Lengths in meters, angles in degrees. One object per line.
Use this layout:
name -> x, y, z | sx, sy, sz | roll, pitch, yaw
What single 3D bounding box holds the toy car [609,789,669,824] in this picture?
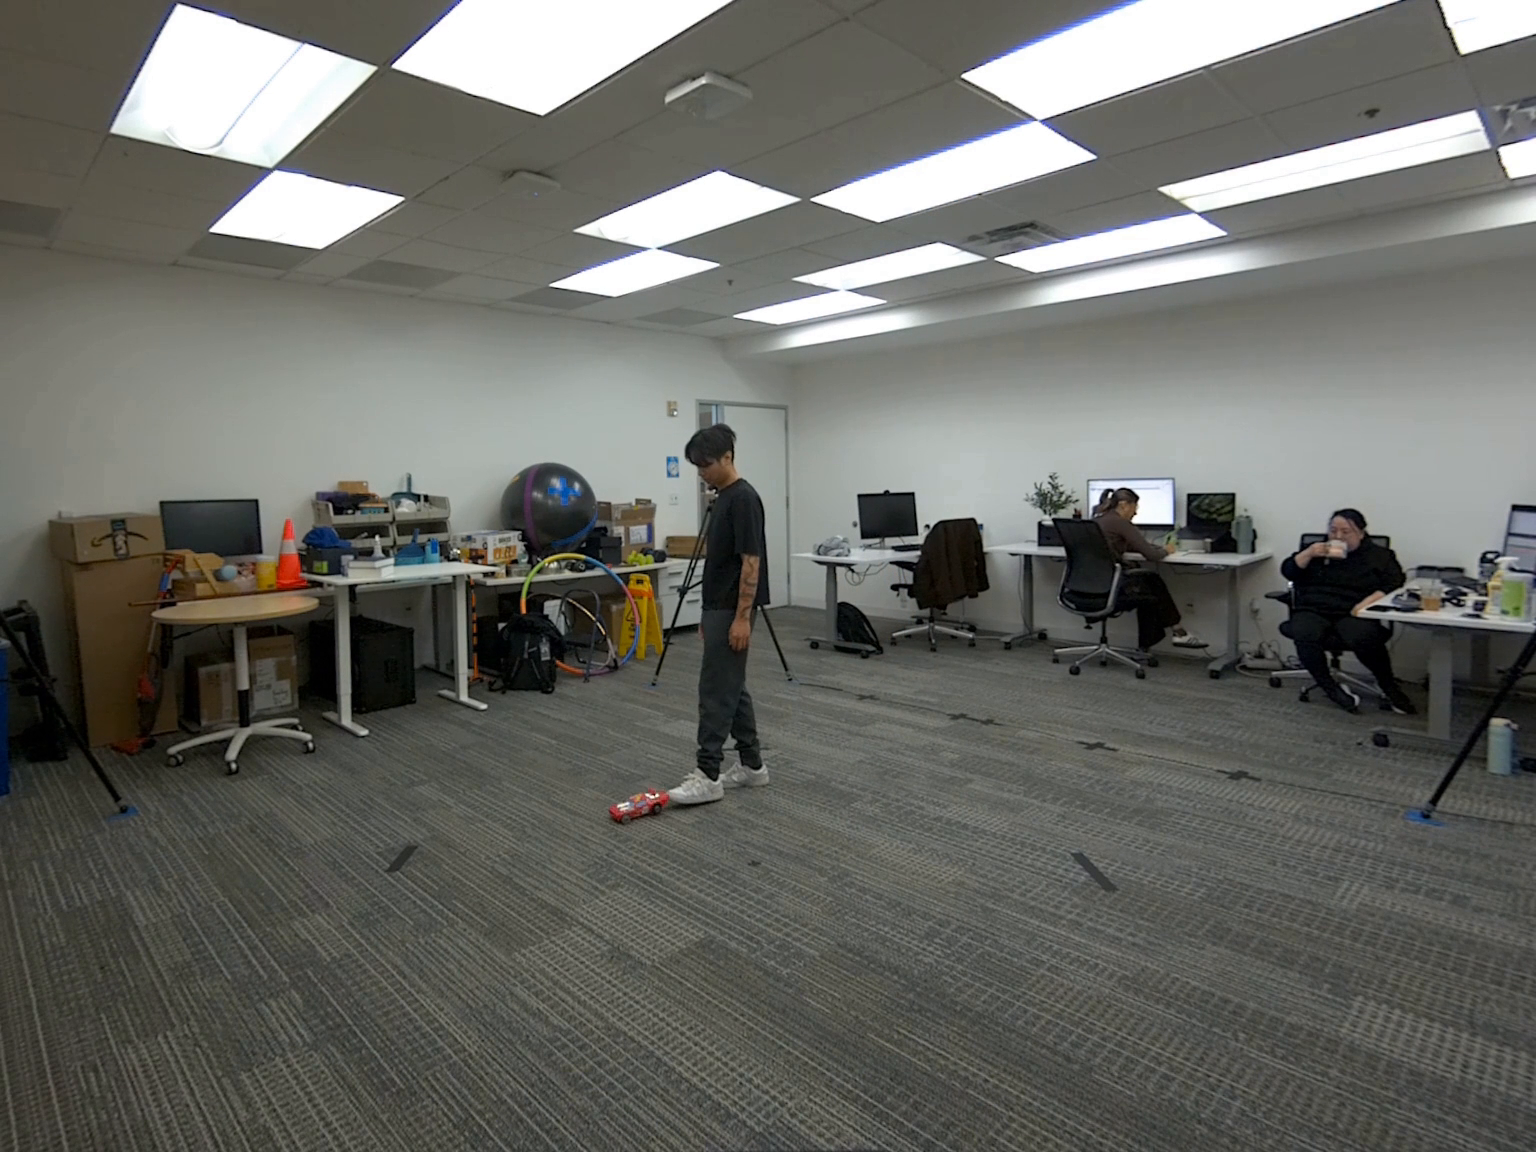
toy car -> -0.531, 0.962, 3.580 | 0.251, 0.082, 0.134 | -22, 15, -30
